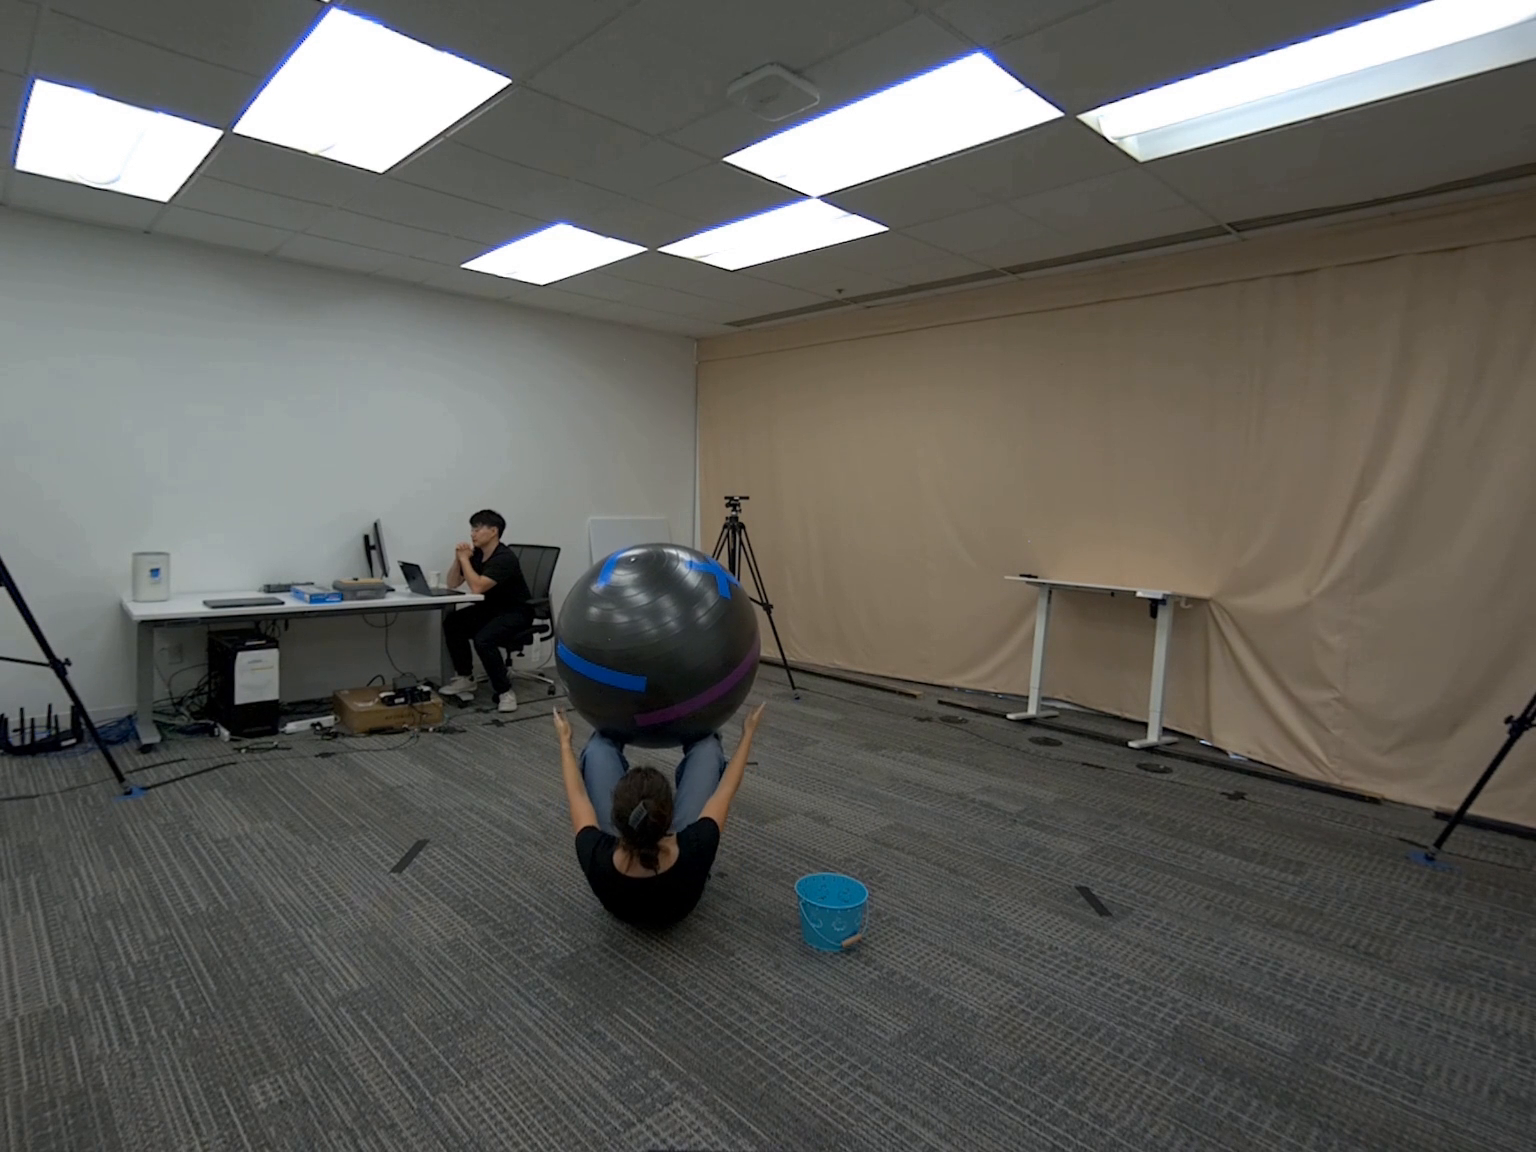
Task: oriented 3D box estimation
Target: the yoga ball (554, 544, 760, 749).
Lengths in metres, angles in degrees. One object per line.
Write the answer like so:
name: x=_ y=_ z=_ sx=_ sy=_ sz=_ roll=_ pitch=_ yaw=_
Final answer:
yoga ball: x=-0.411 y=0.263 z=3.123 sx=0.757 sy=0.756 sz=0.761 roll=1 pitch=4 yaw=-1
